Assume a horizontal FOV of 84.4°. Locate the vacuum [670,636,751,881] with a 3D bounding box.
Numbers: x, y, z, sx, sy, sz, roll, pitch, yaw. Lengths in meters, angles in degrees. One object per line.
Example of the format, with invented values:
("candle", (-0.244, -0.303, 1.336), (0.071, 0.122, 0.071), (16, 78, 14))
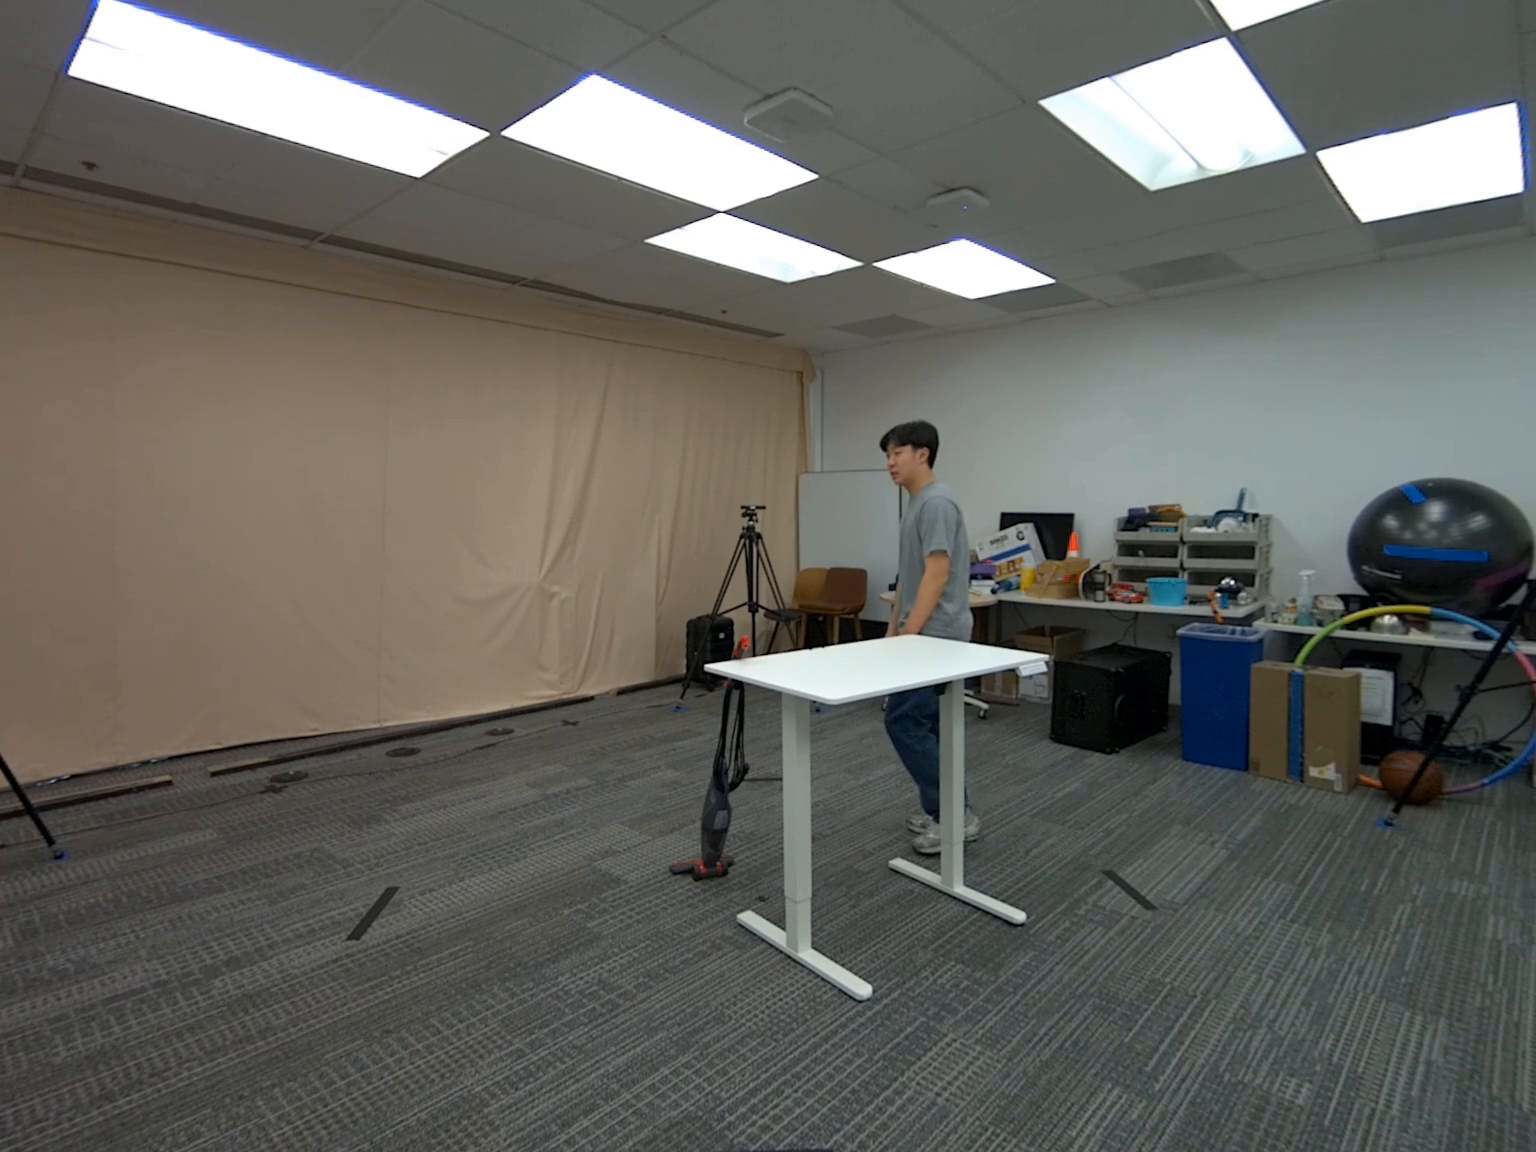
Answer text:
("vacuum", (-0.163, 0.677, 2.973), (0.246, 1.037, 0.149), (-7, 32, -29))
